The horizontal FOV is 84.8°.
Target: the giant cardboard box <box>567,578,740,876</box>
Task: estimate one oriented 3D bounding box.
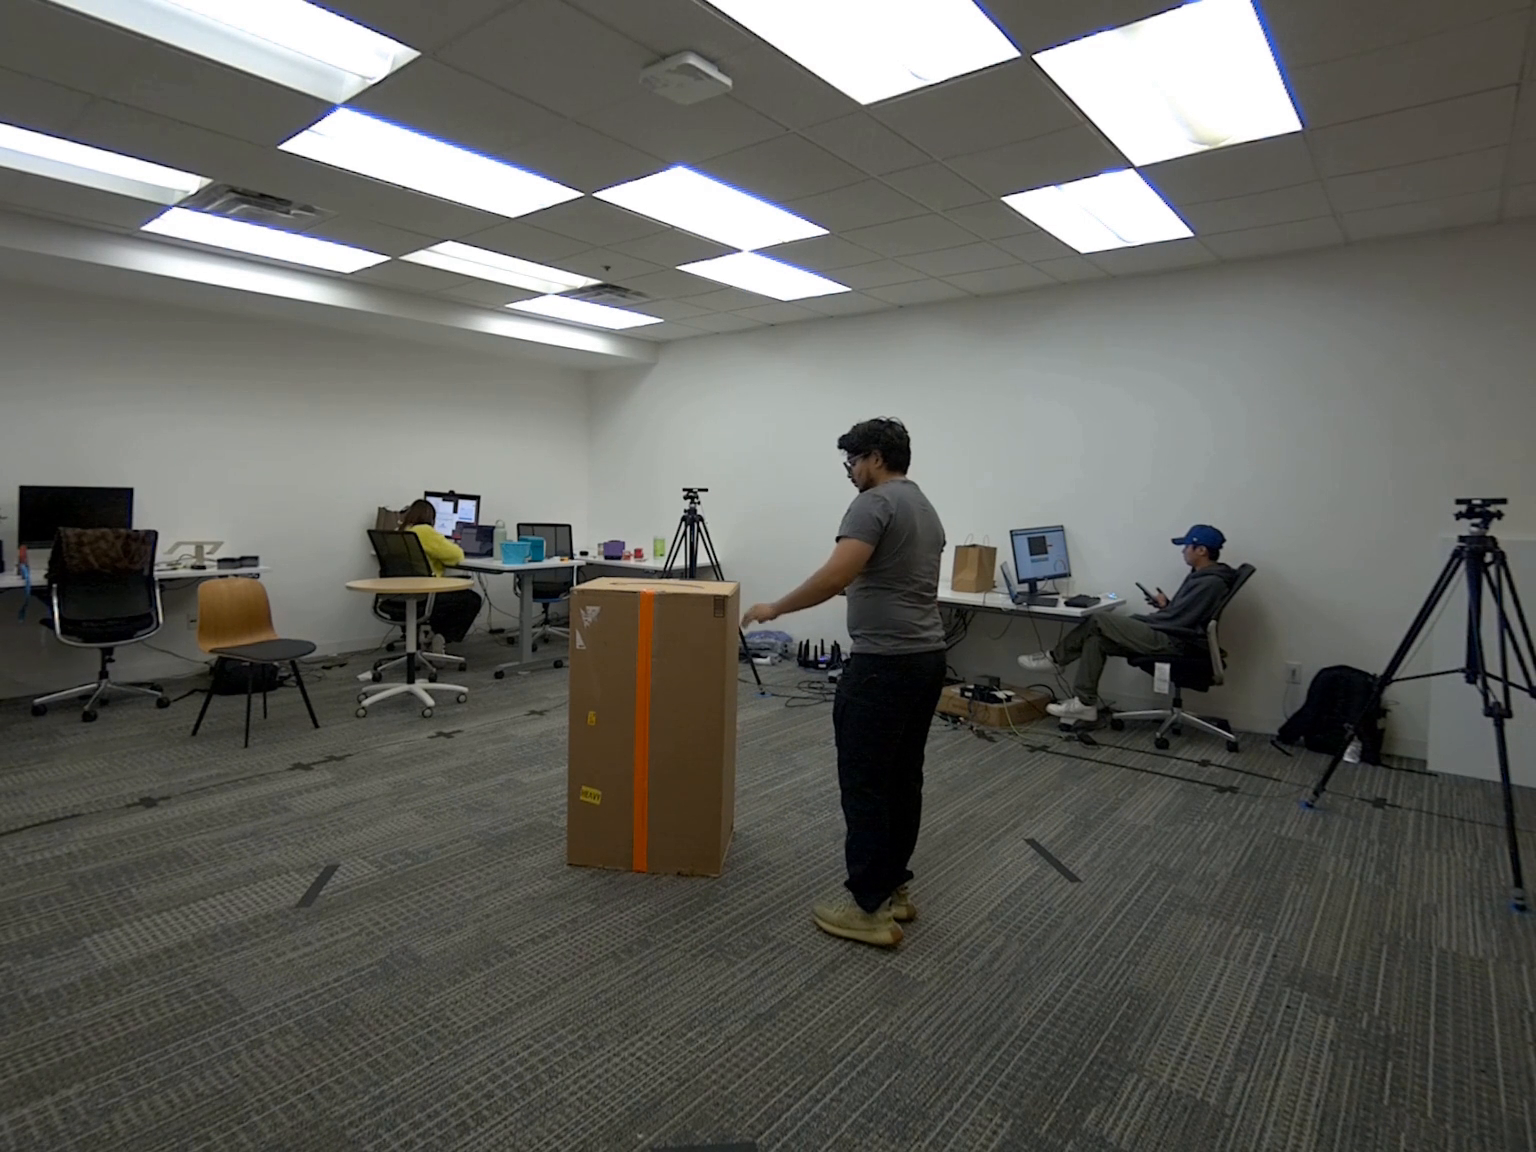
[{"bbox_3d":[-0.436,0.541,3.261,0.583,1.023,0.424,2,3,7],"label":"giant cardboard box"}]
